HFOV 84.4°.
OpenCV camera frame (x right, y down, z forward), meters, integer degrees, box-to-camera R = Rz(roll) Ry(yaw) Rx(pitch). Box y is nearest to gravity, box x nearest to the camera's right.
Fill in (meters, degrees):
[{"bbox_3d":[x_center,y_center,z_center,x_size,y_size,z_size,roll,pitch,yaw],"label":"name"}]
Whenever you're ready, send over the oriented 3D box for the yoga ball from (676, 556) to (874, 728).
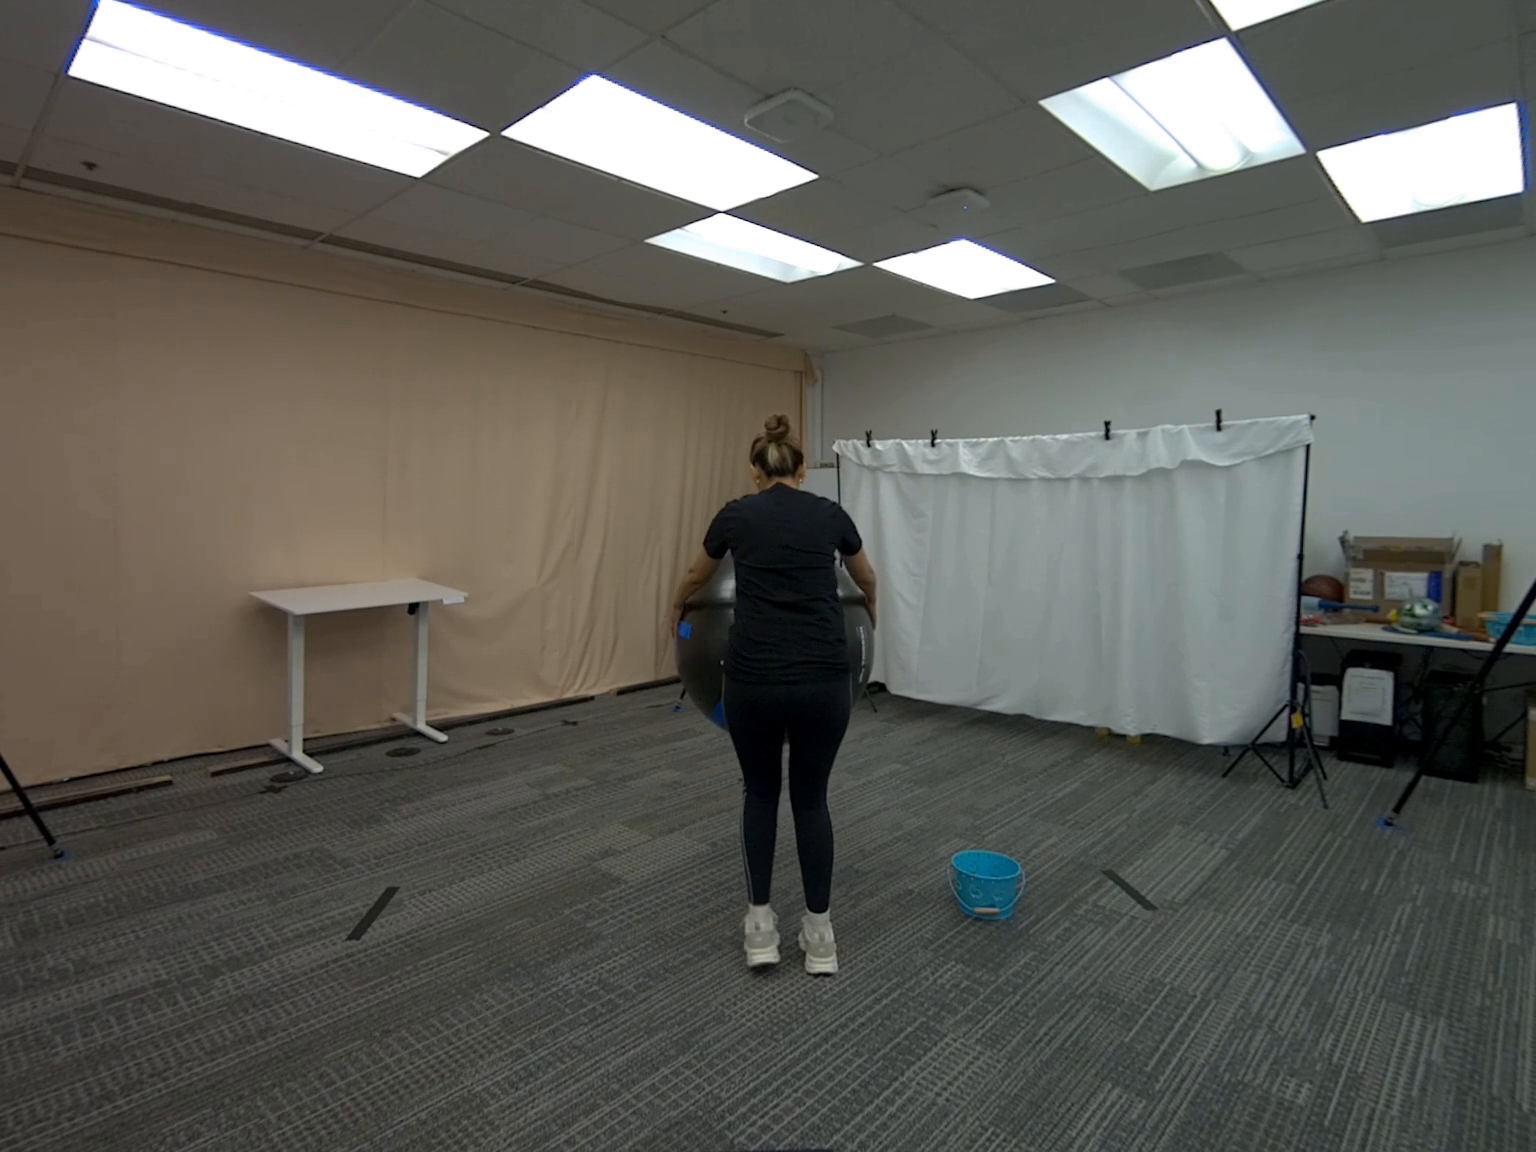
[{"bbox_3d":[0.028,0.256,3.184,0.757,0.756,0.761,0,4,-2],"label":"yoga ball"}]
